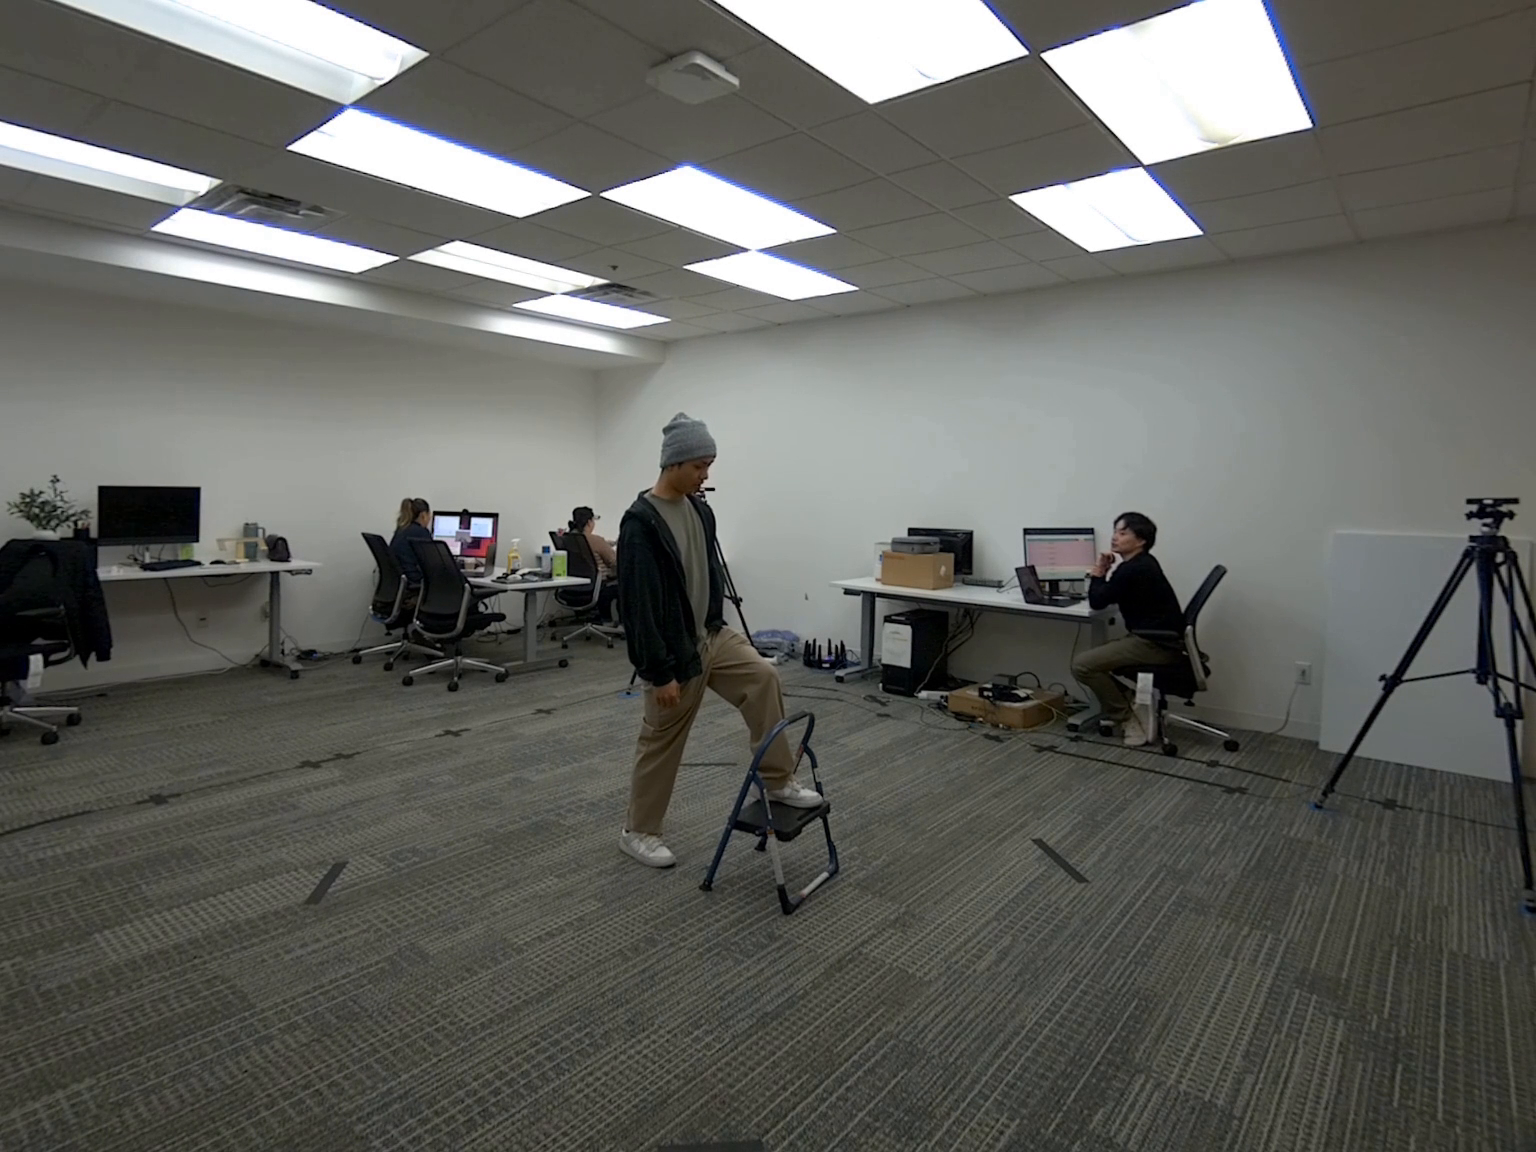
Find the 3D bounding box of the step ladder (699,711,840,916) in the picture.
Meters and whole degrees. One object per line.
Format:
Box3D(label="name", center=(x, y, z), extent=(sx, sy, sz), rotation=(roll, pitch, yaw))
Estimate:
Box3D(label="step ladder", center=(0.016, 0.778, 3.016), extent=(0.360, 0.604, 0.419), rotation=(4, 4, 29))
